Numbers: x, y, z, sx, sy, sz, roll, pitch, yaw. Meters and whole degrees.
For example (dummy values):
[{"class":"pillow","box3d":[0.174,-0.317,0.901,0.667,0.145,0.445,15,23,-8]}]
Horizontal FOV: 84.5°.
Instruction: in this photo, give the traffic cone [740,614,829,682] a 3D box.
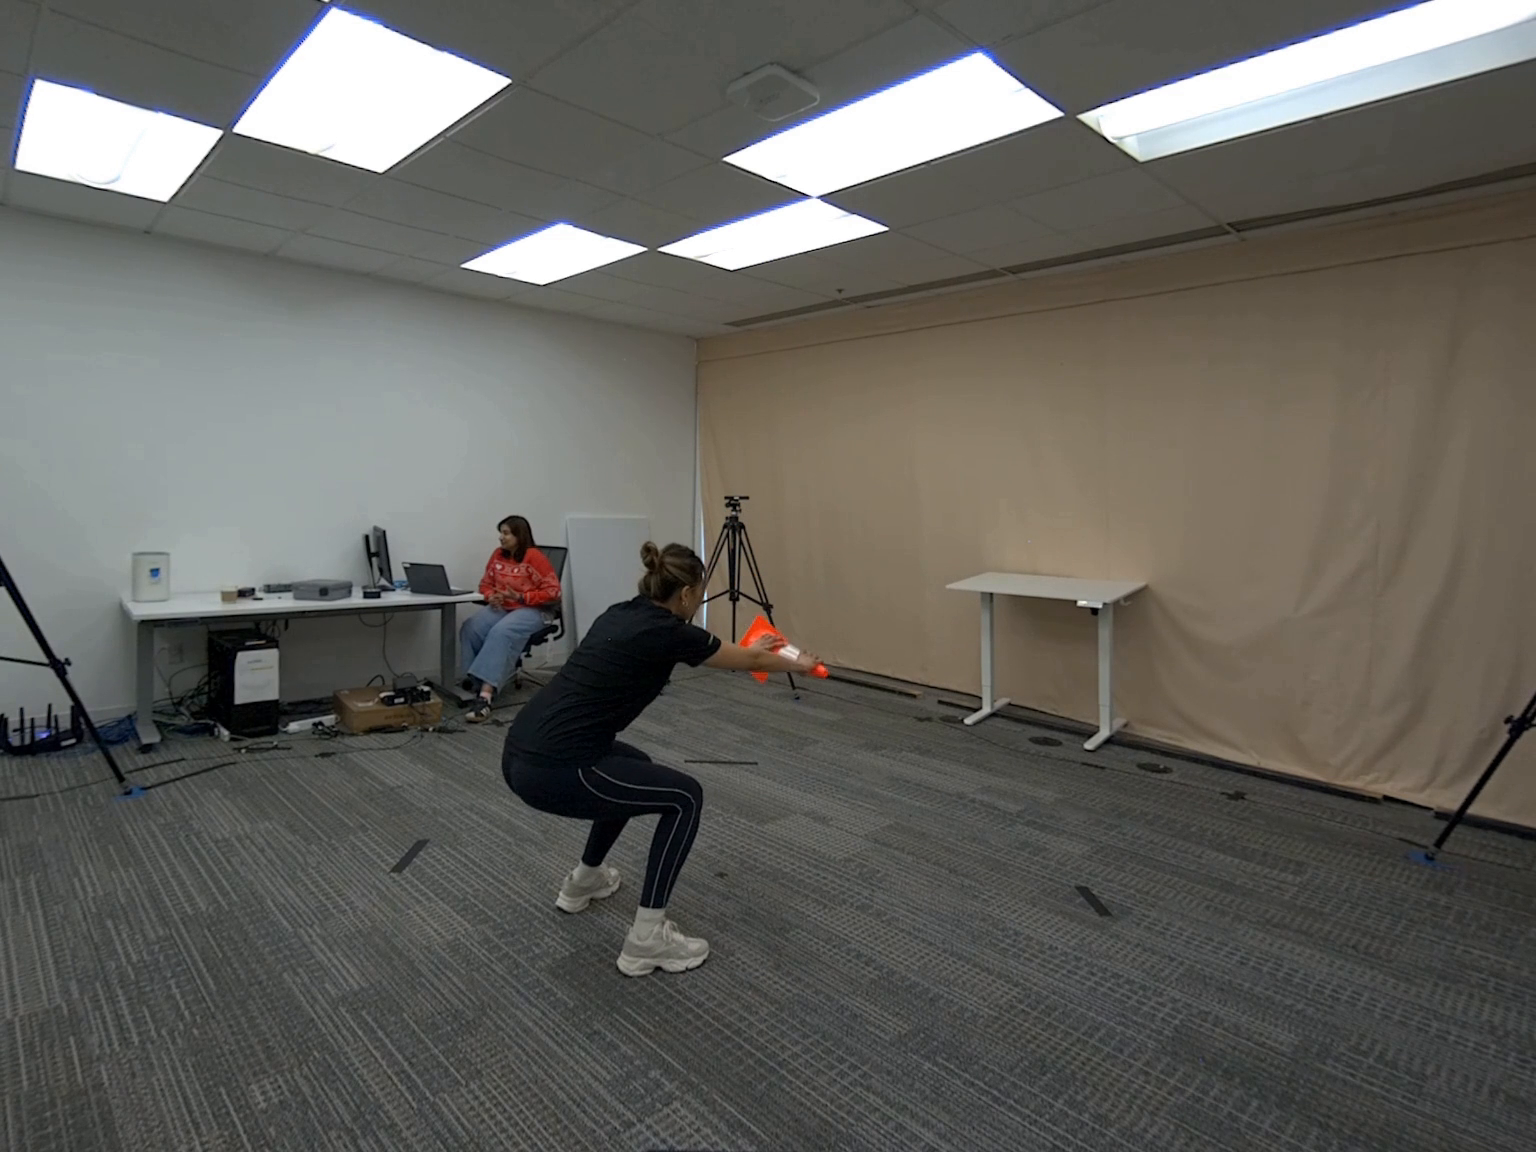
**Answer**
[{"class":"traffic cone","box3d":[0.070,0.311,3.104,0.197,0.205,0.394,43,-15,-33]}]
